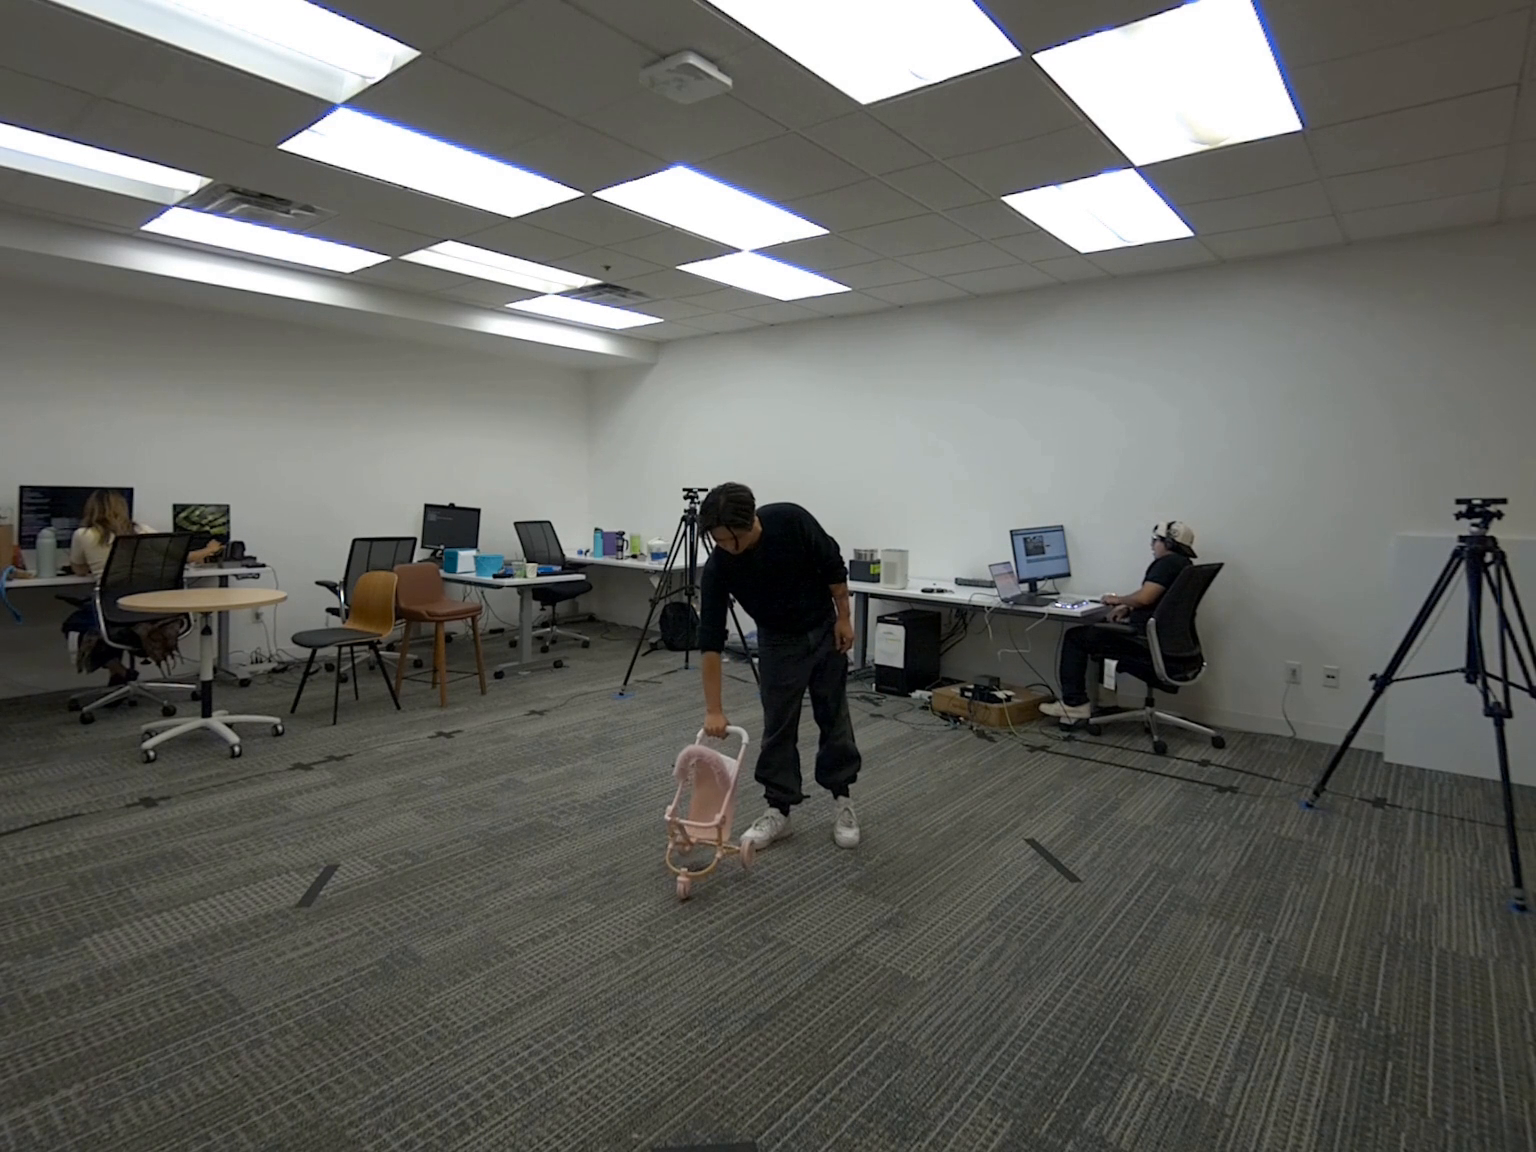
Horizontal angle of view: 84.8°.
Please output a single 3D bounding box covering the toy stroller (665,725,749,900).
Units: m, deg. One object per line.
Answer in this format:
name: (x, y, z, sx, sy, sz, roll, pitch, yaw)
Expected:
toy stroller: (-0.235, 0.822, 3.009, 0.289, 0.536, 0.331, 2, -2, 28)
